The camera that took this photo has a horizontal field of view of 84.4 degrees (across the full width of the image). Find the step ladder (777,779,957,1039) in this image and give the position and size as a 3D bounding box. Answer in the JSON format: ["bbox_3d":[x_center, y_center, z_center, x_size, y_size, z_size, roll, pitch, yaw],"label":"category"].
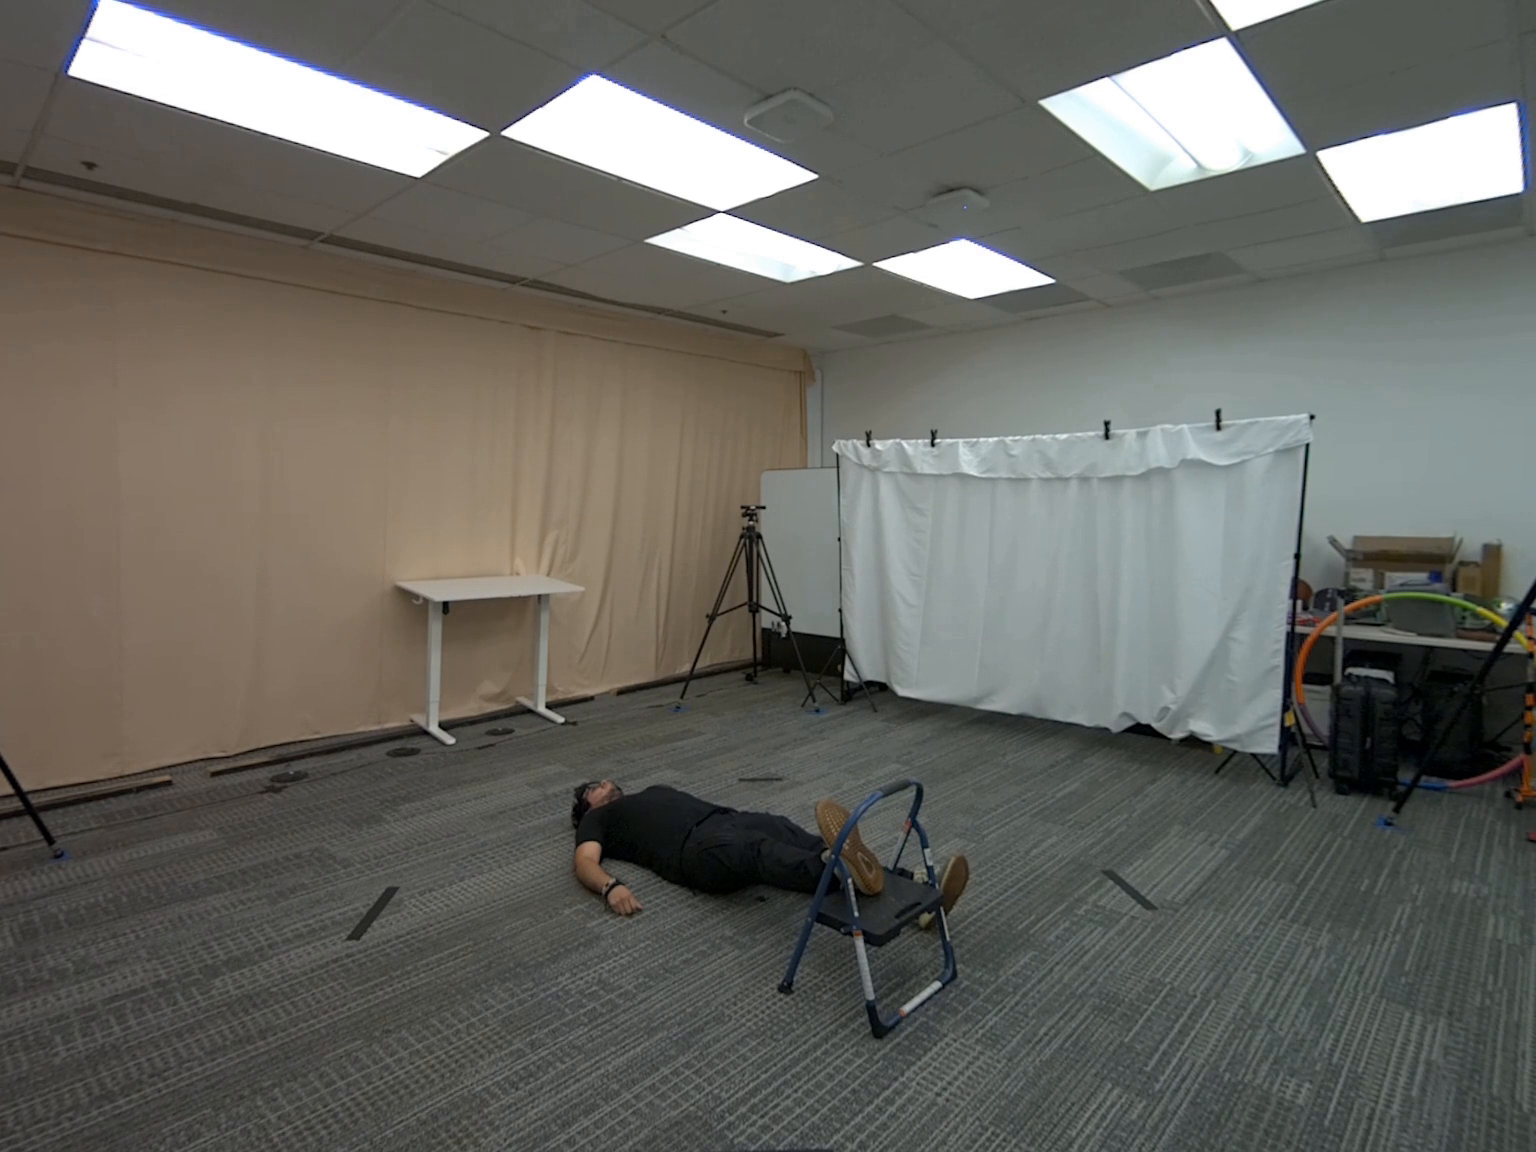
[{"bbox_3d":[0.302,0.887,2.432,0.361,0.604,0.417,4,5,42],"label":"step ladder"}]
